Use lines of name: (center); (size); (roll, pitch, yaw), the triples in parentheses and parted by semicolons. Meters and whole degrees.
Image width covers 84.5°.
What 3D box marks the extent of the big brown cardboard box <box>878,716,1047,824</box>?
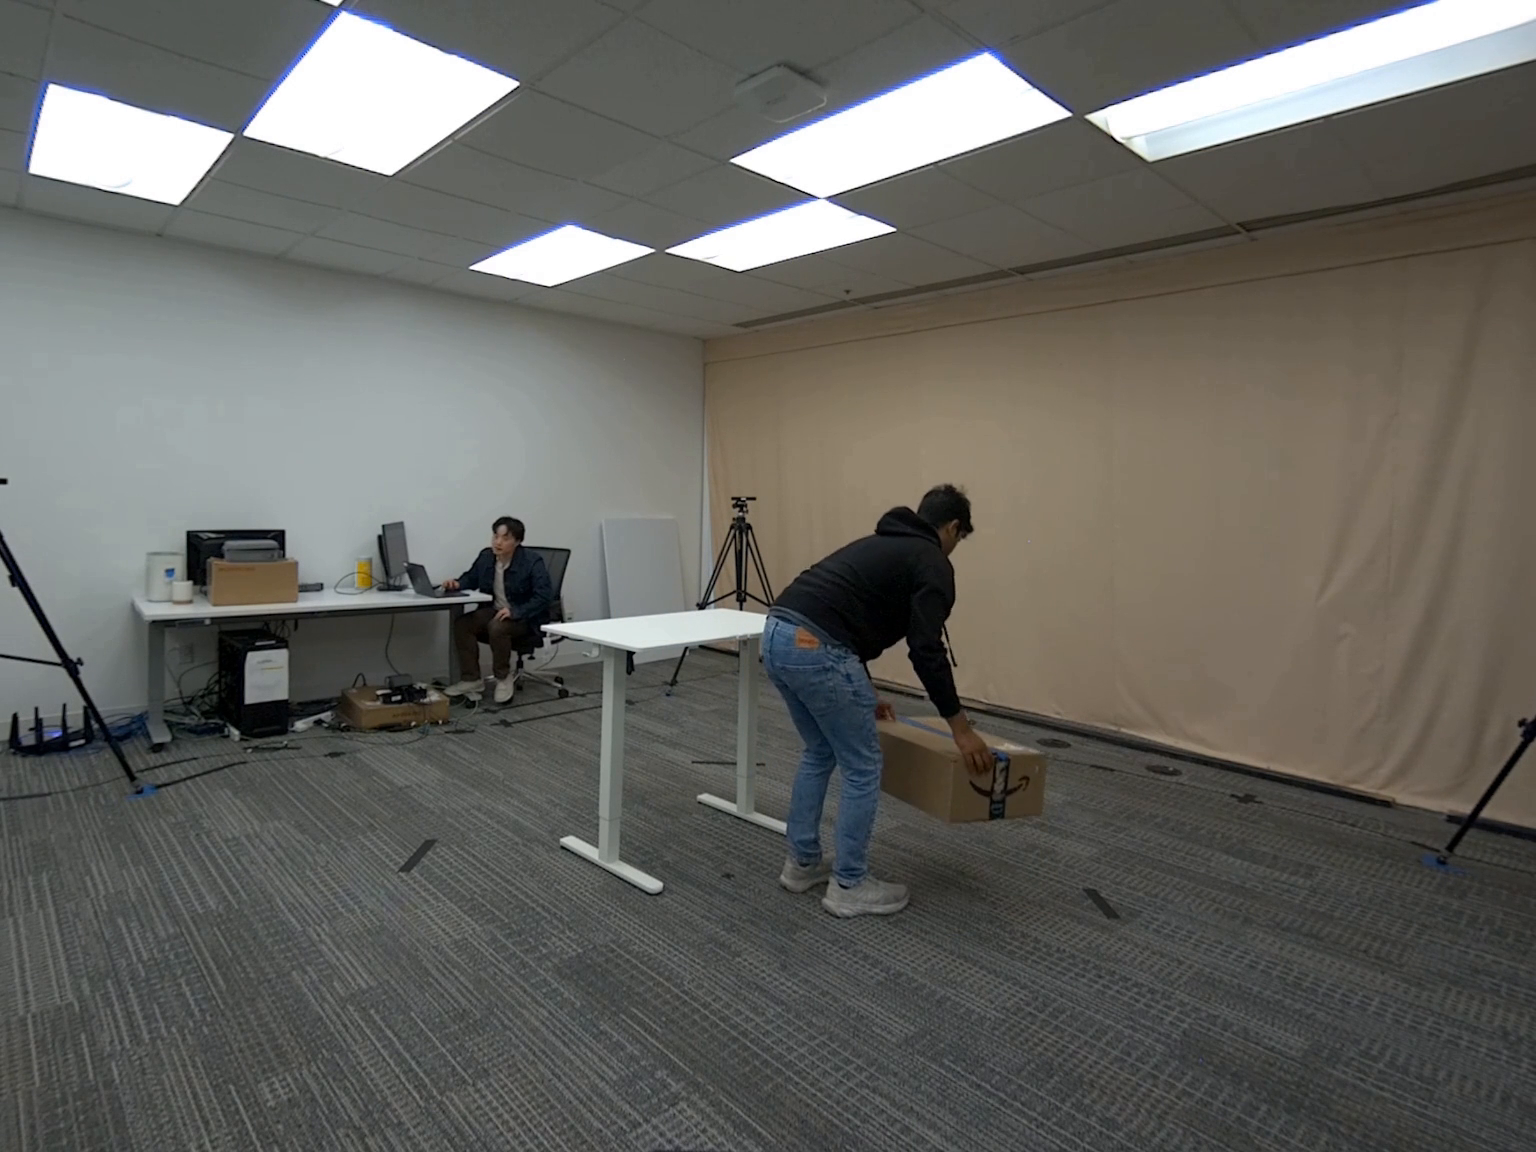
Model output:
big brown cardboard box: (0.630, 0.686, 3.041); (0.409, 0.233, 0.601); (4, 1, -28)
